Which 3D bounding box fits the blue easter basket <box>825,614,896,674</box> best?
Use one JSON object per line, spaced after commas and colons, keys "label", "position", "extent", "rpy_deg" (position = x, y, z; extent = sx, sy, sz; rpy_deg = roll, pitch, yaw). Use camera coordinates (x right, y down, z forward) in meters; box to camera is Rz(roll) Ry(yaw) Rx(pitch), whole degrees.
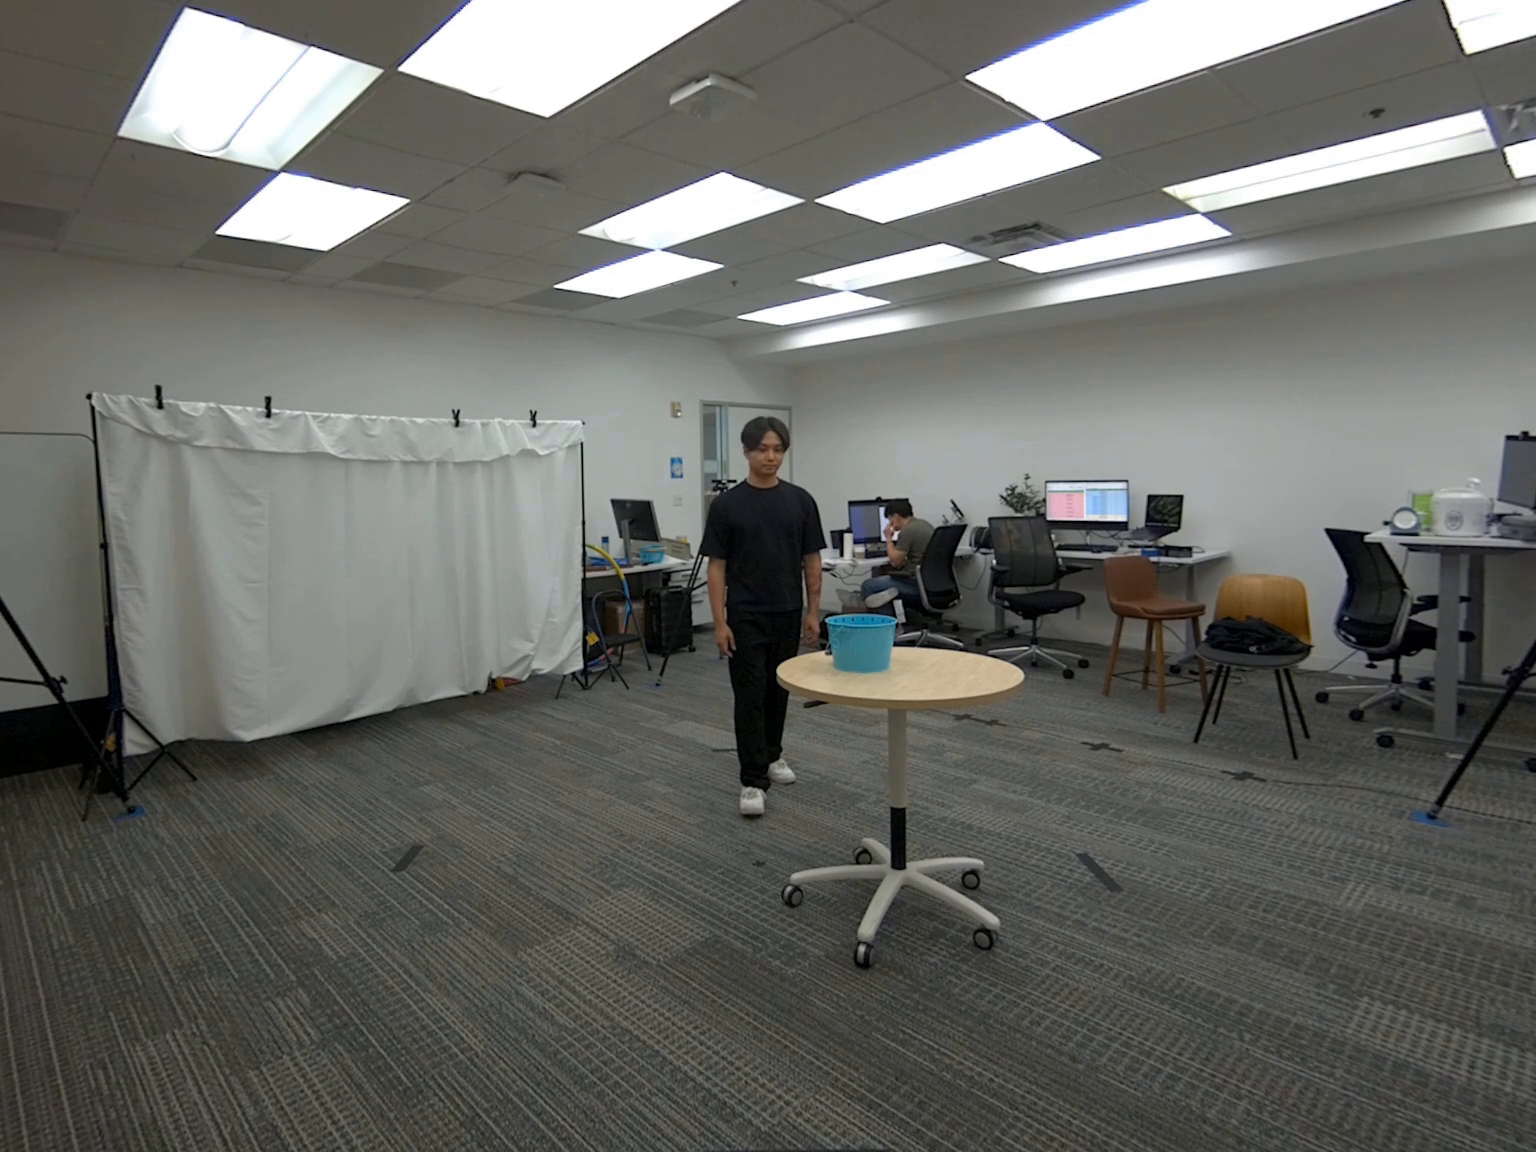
{"label": "blue easter basket", "position": [0.319, 0.224, 2.780], "extent": [0.243, 0.155, 0.245], "rpy_deg": [-1, 5, -2]}
